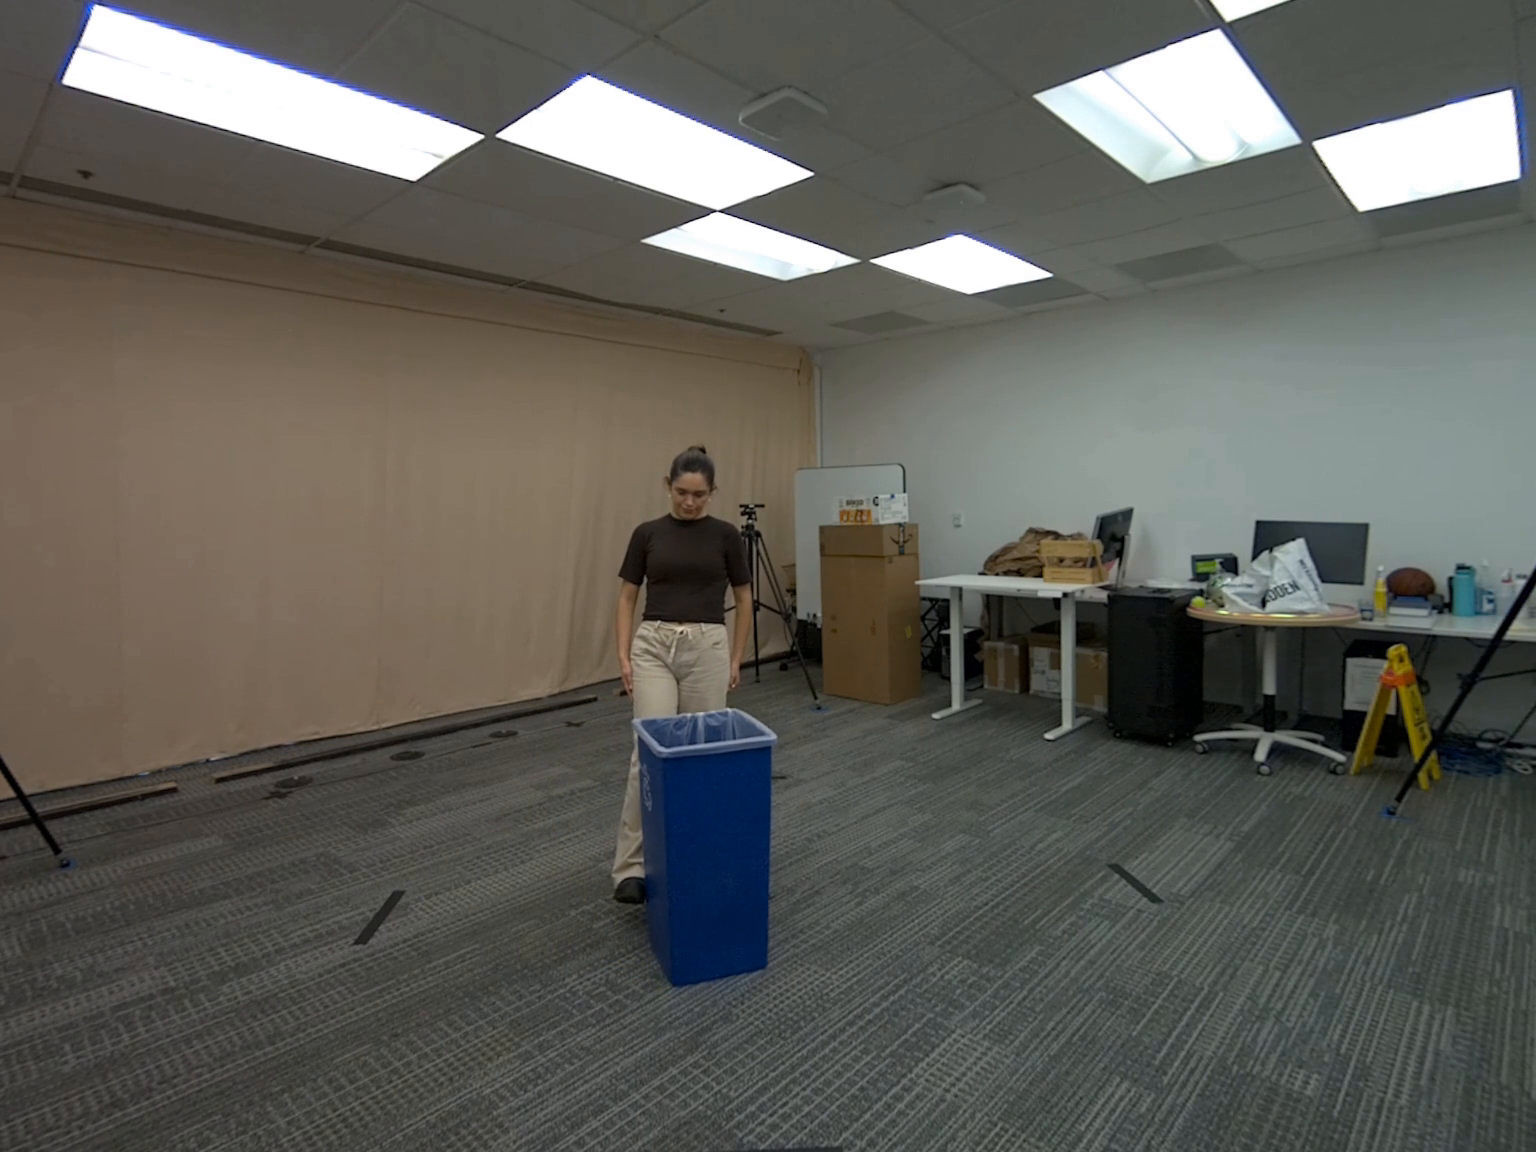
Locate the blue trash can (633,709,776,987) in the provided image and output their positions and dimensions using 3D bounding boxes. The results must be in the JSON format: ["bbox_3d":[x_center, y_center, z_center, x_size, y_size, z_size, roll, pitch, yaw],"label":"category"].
[{"bbox_3d":[-0.195,0.817,2.590,0.367,0.712,0.386,-2,4,-21],"label":"blue trash can"}]
